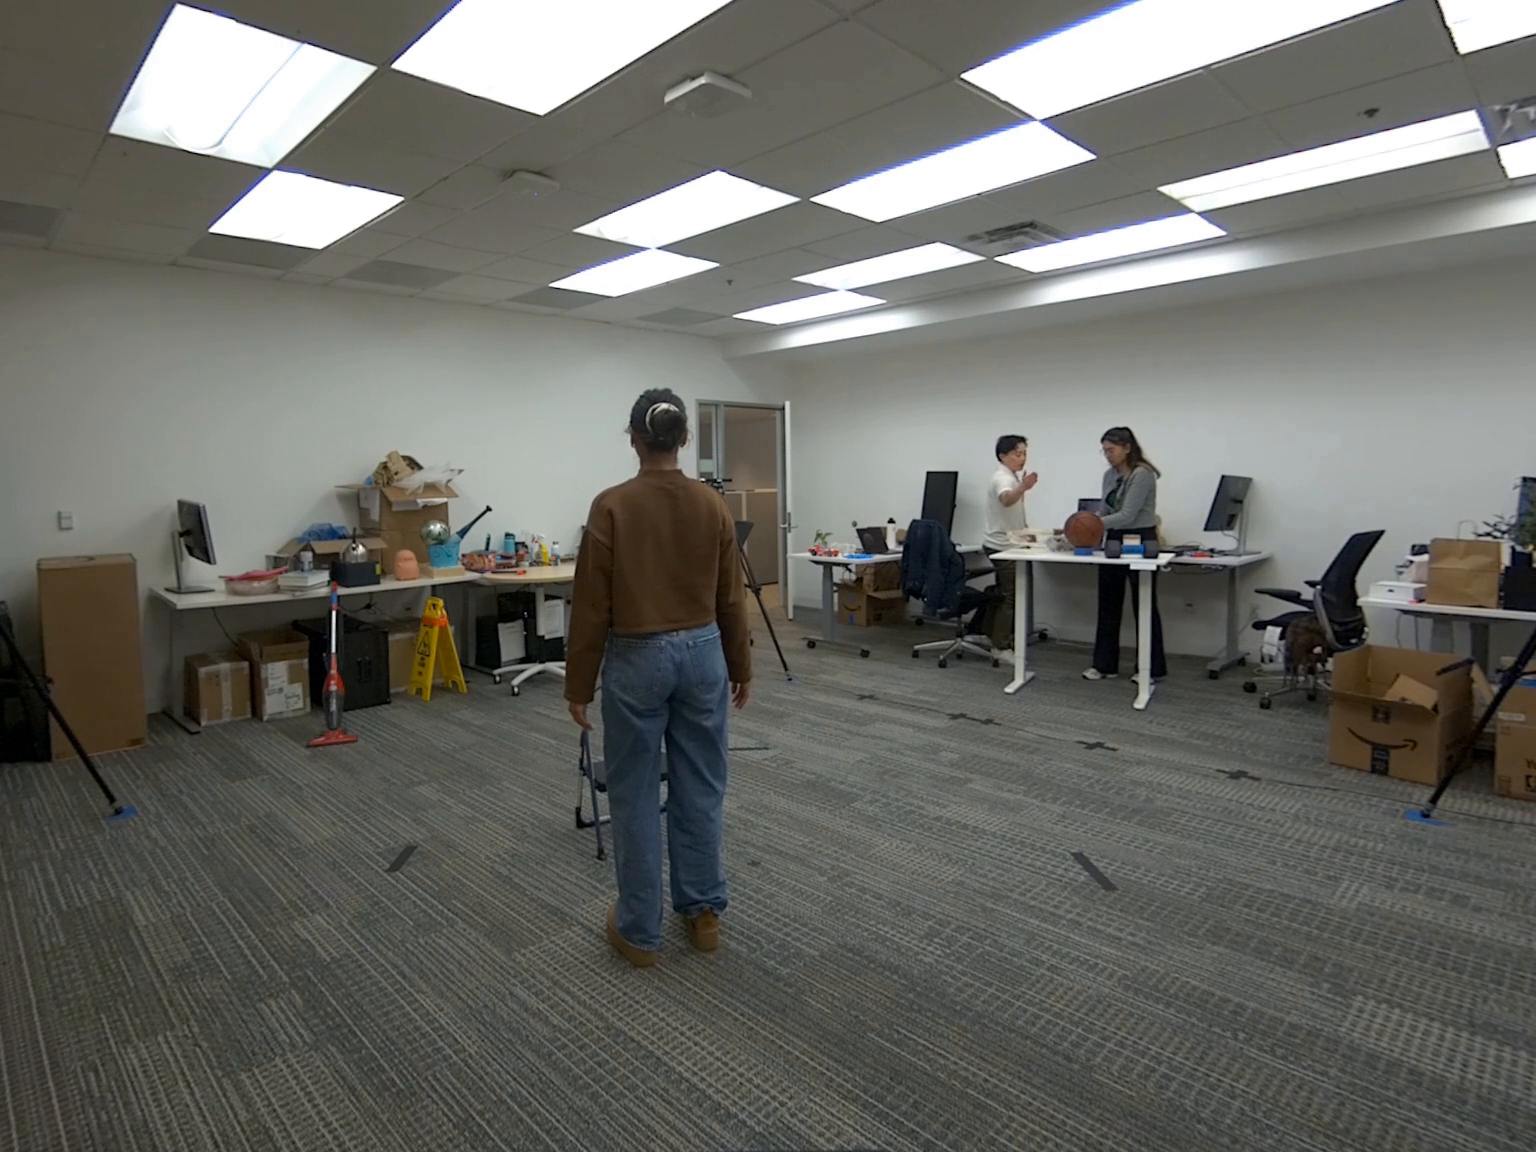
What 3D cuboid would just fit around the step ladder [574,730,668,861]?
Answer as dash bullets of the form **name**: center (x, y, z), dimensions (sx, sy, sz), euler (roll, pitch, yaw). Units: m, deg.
- **step ladder**: center (-0.521, 0.720, 3.382), dimensions (0.421, 0.604, 0.358), euler (-3, 5, -28)
